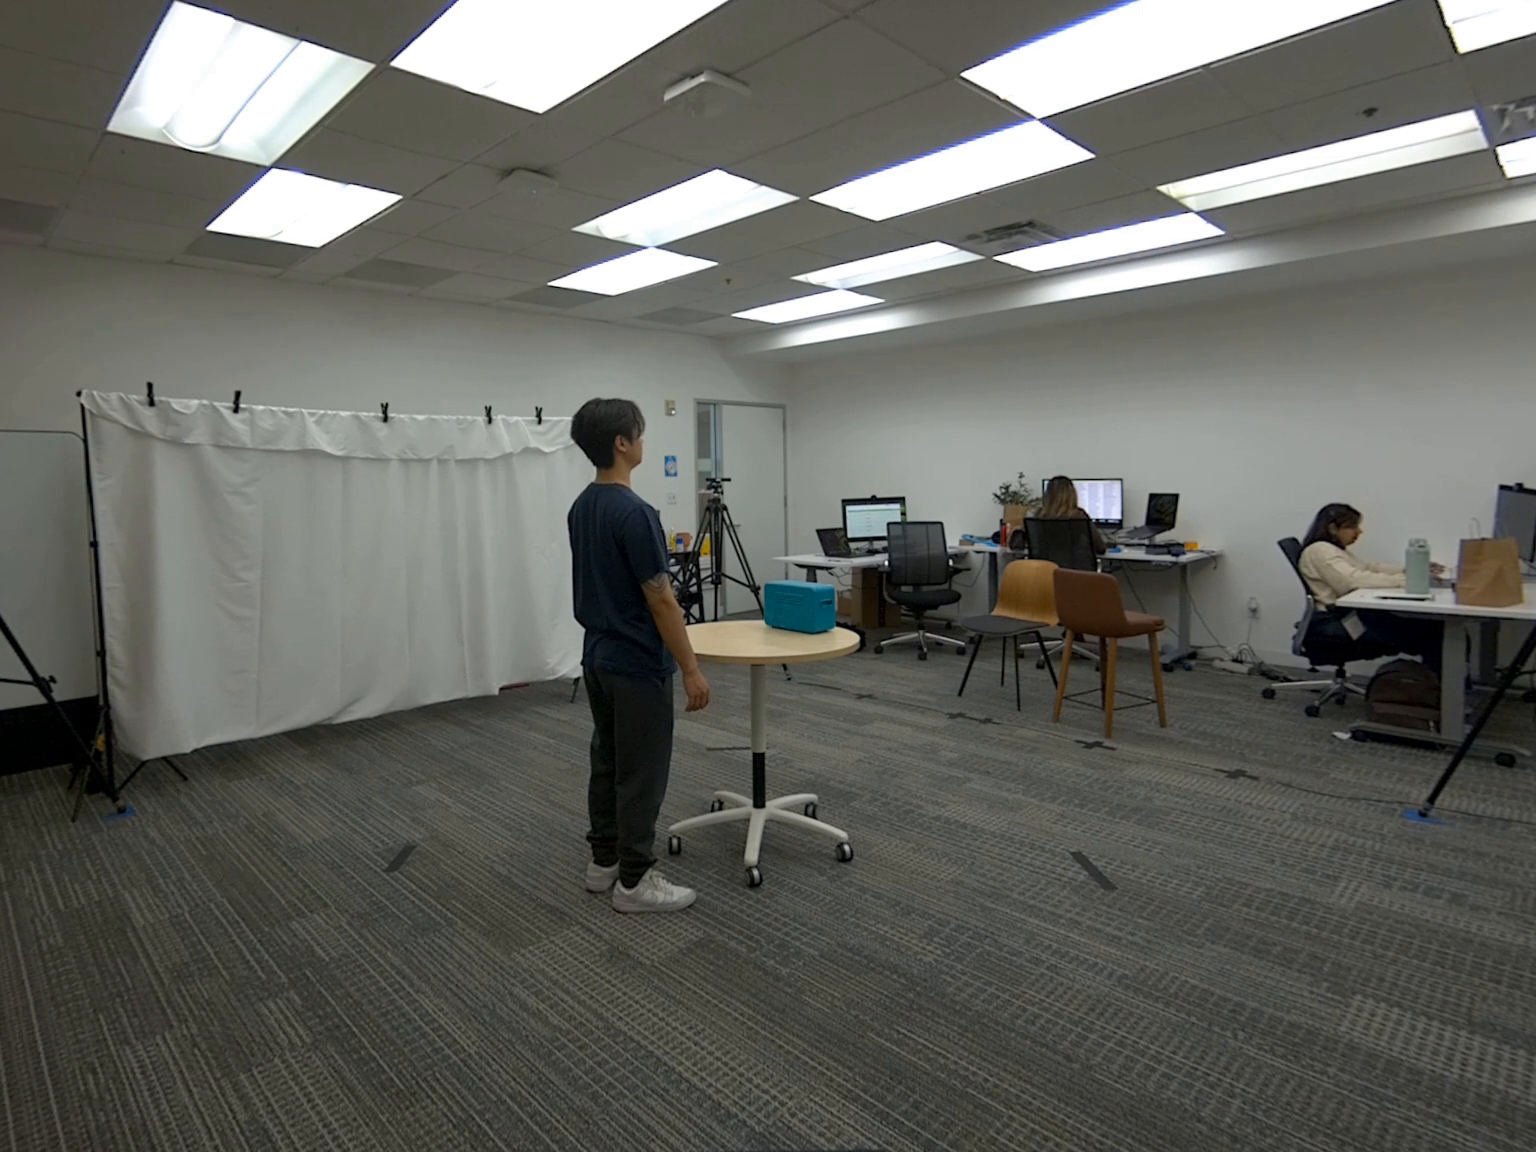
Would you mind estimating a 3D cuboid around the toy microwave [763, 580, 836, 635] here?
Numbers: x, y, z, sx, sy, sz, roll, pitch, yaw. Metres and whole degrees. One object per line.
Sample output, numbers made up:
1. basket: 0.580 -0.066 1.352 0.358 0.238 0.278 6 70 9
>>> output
1. toy microwave: 0.132 0.120 3.390 0.148 0.183 0.295 -5 6 -42
